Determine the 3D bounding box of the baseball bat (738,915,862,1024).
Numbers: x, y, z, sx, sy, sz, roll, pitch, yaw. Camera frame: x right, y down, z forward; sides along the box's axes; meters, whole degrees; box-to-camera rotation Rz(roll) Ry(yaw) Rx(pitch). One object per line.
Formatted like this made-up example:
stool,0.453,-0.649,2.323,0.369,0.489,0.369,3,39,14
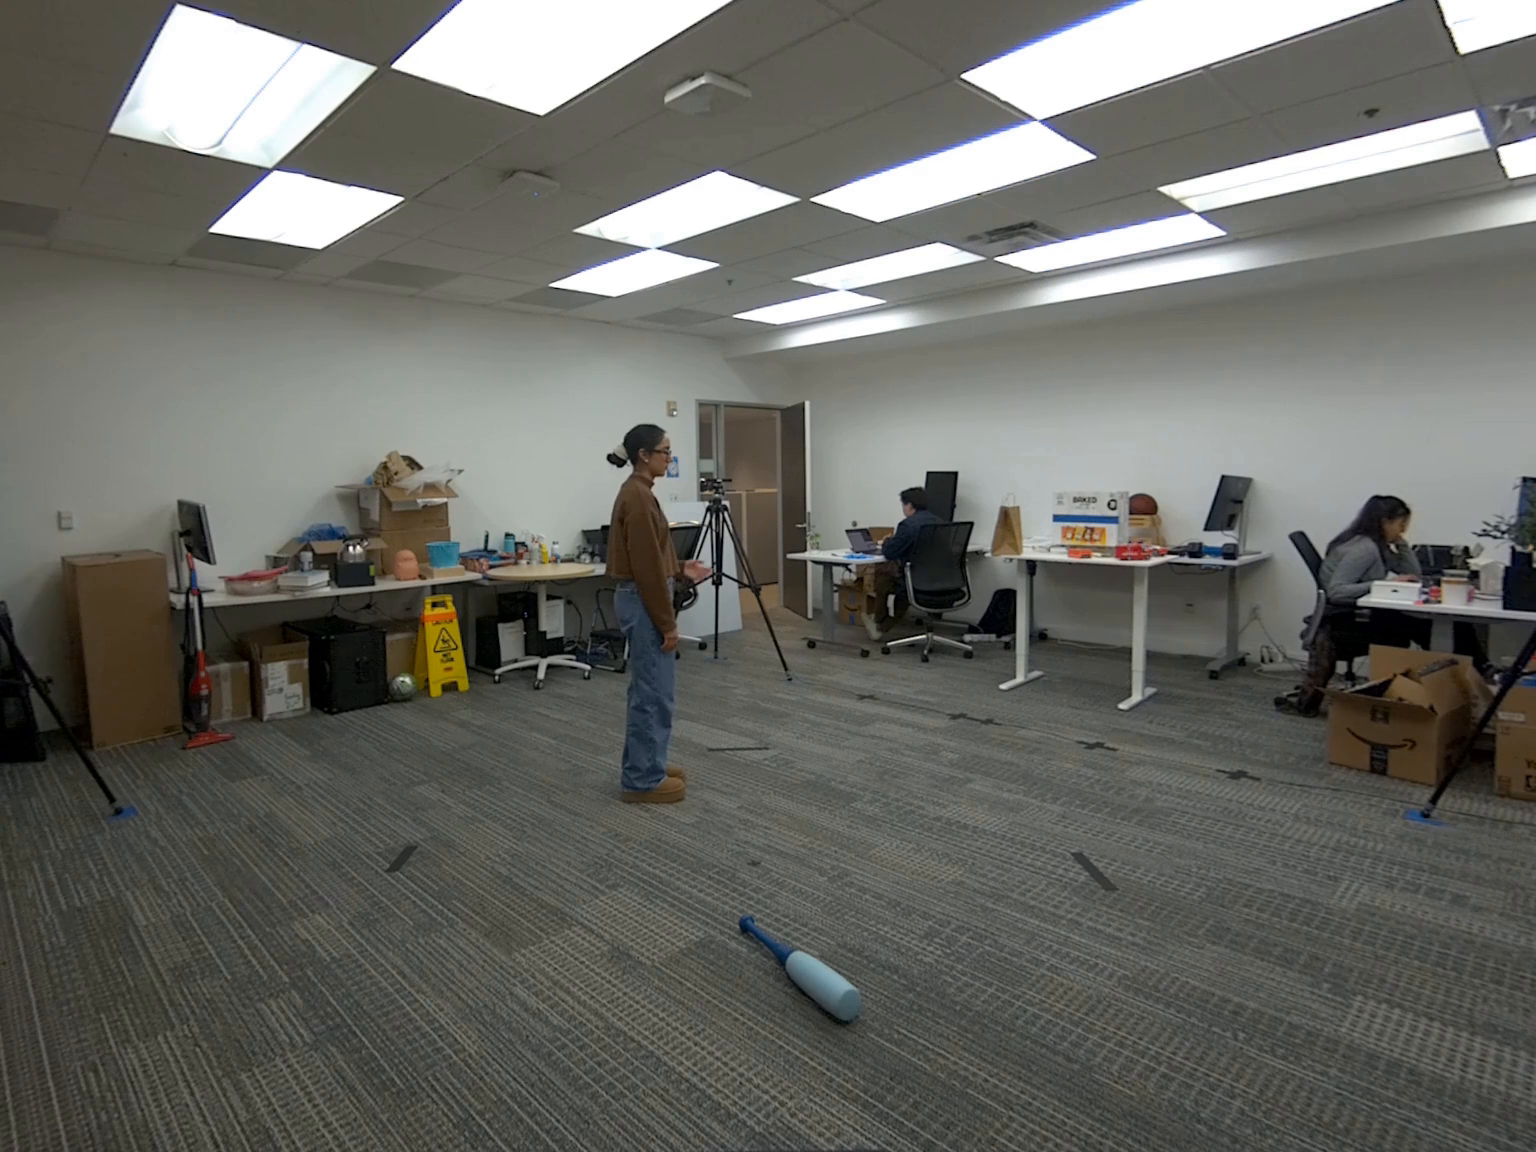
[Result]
baseball bat,0.077,1.093,2.408,0.087,0.089,0.556,-4,3,-30
